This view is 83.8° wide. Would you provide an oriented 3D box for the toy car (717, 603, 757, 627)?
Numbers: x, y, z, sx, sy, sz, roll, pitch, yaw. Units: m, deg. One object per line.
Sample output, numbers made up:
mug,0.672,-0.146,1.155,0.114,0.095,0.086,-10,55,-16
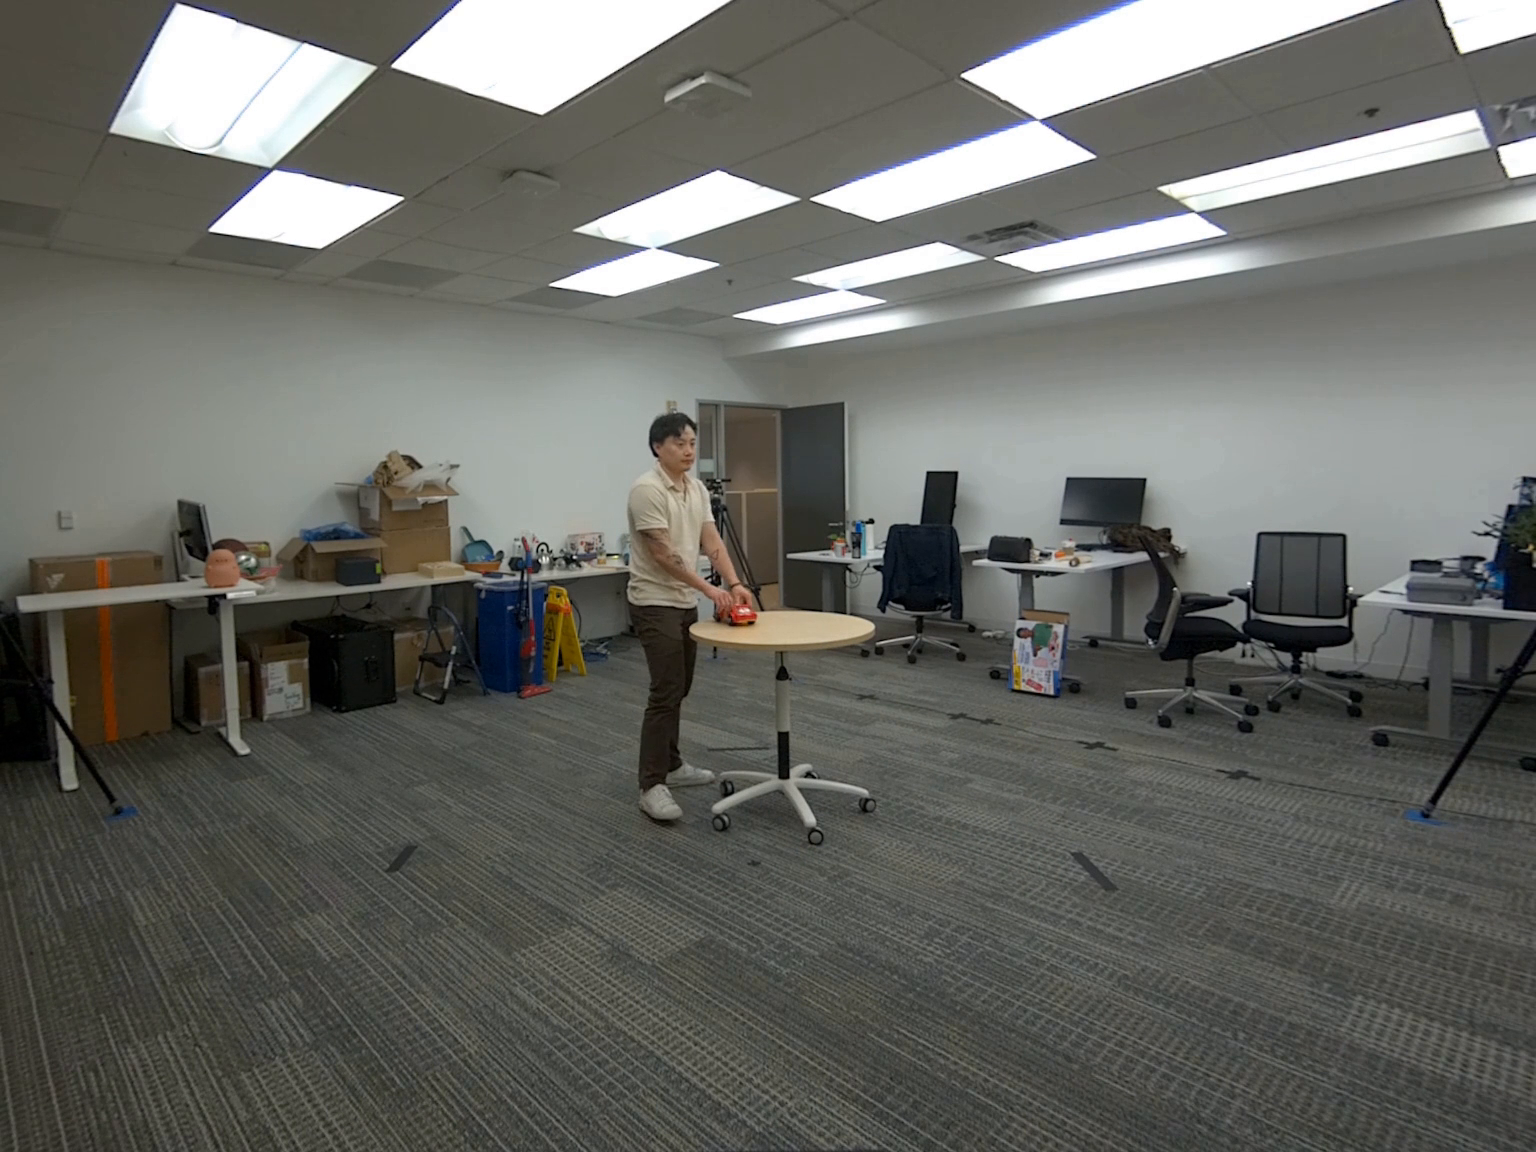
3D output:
toy car,-0.133,0.173,3.644,0.128,0.084,0.258,-2,-7,-24
